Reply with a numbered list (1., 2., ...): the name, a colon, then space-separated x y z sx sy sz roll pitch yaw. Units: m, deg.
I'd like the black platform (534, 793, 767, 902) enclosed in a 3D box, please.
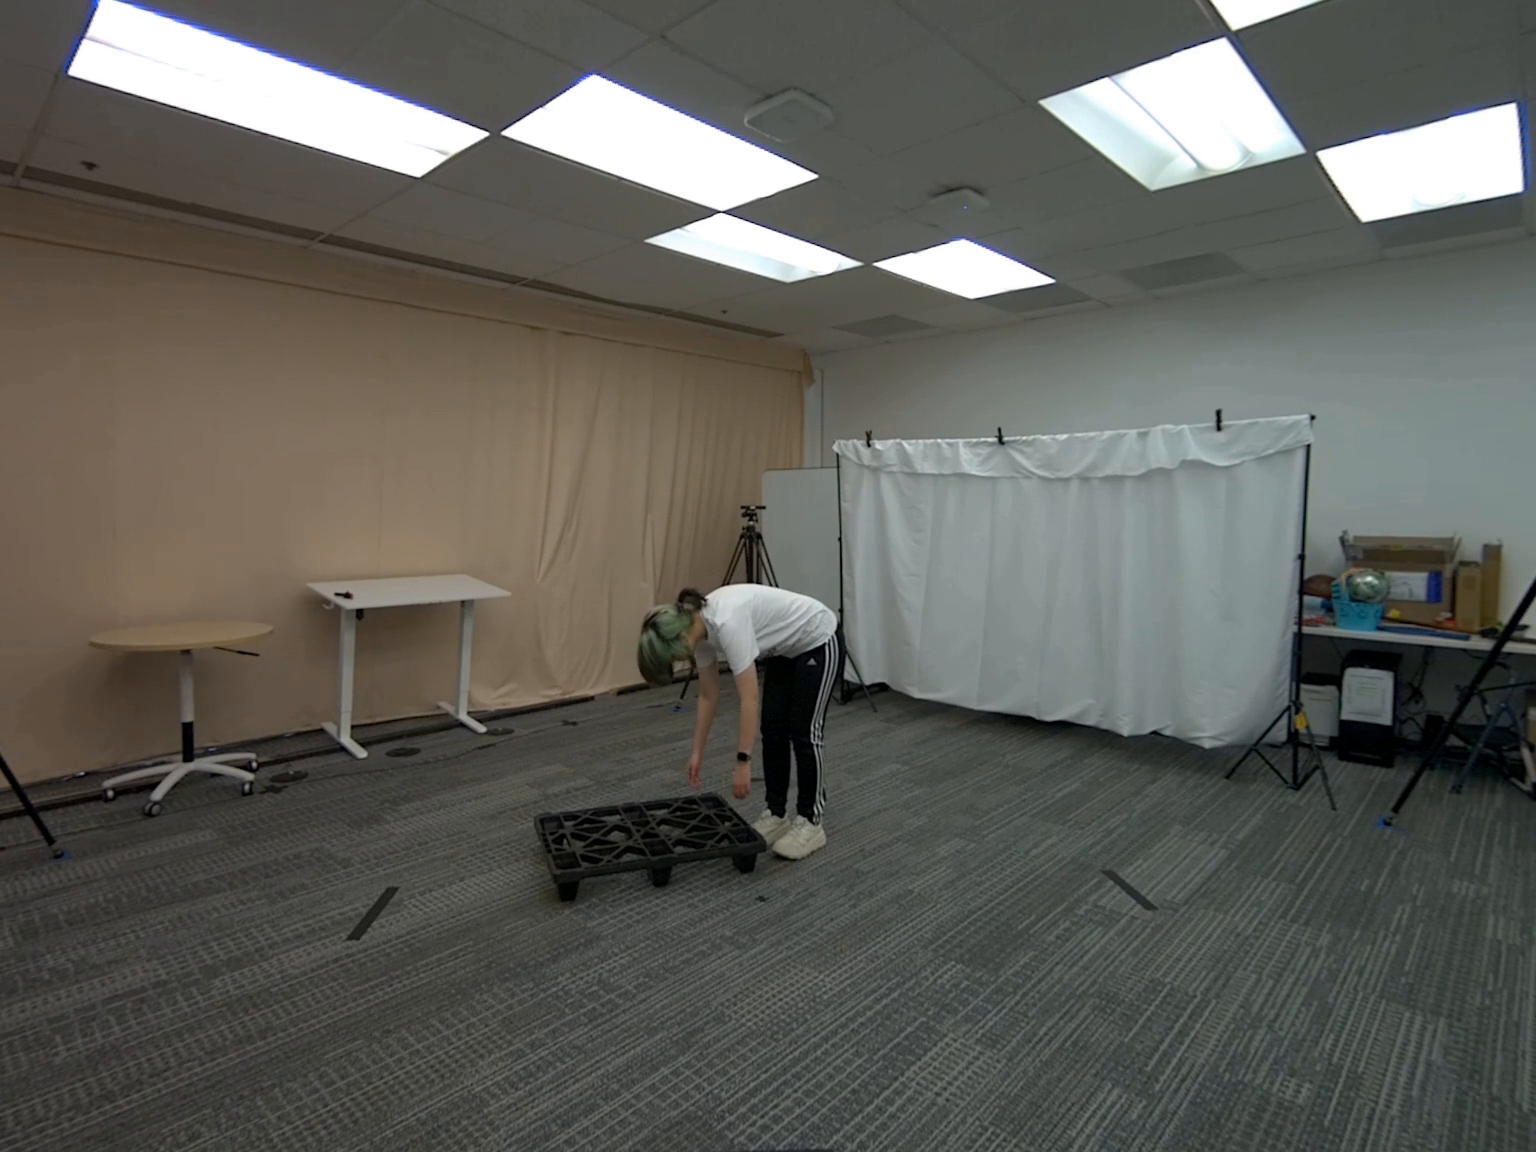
1. black platform: -0.482 1.053 3.301 0.790 0.143 0.618 -2 4 -20
